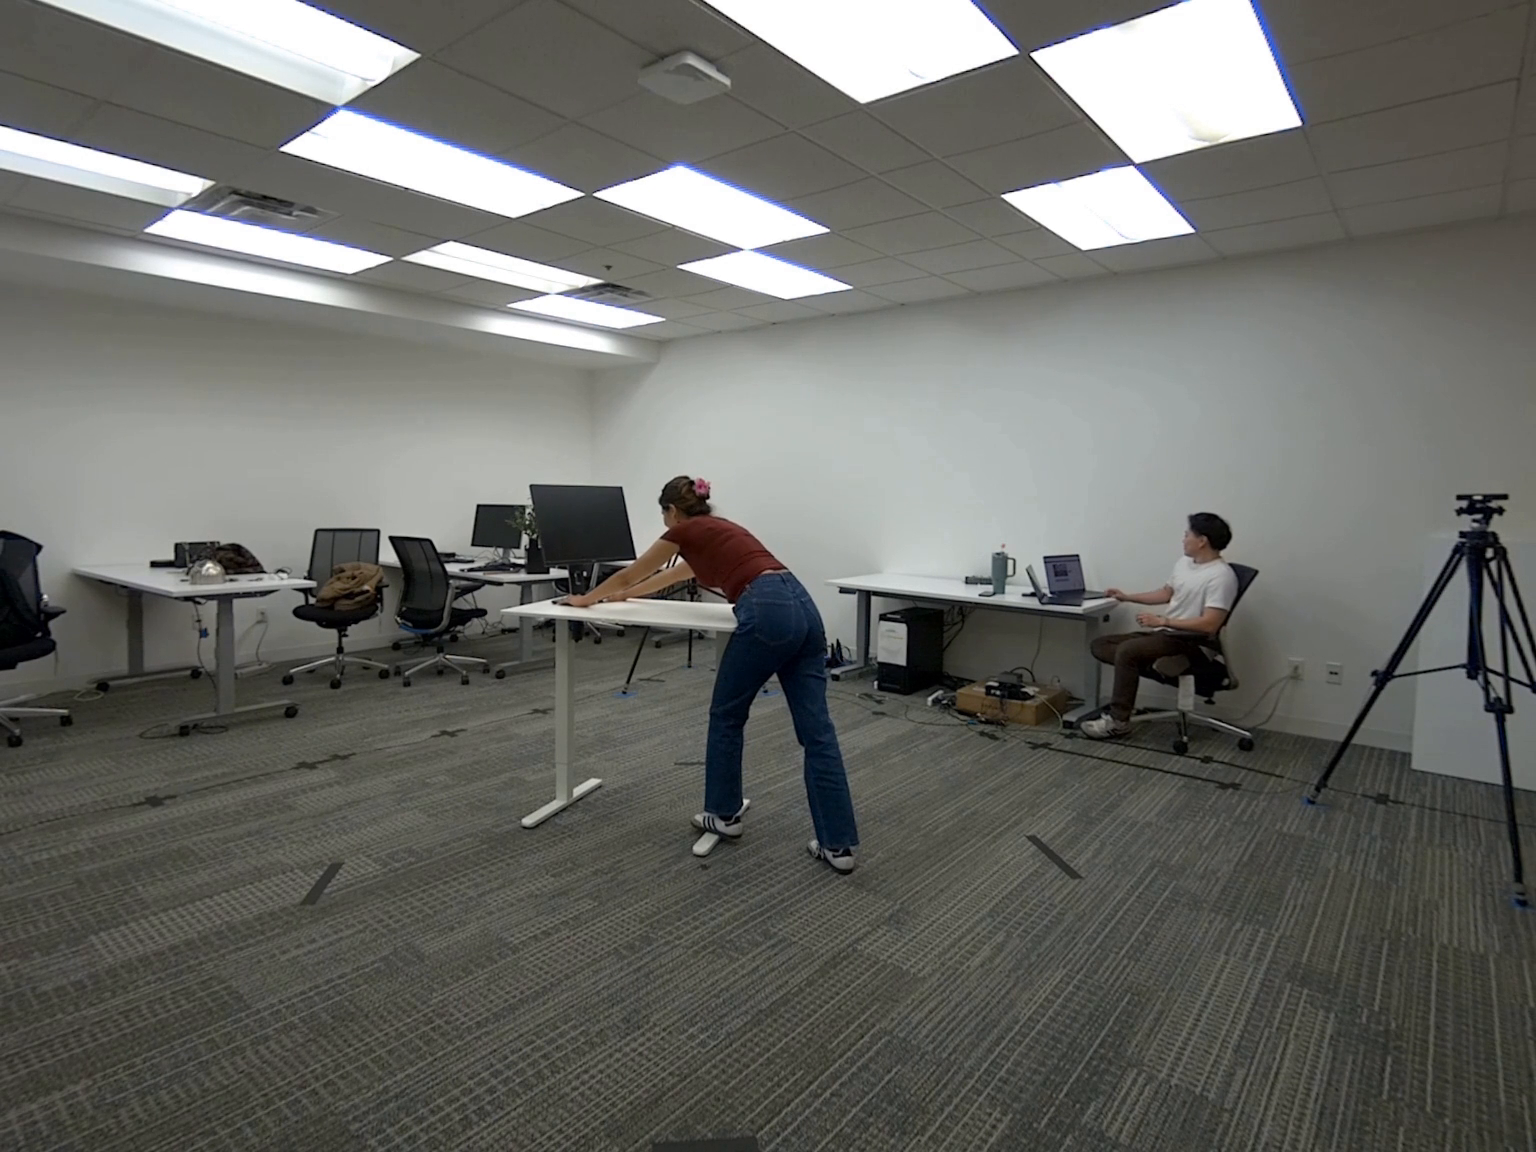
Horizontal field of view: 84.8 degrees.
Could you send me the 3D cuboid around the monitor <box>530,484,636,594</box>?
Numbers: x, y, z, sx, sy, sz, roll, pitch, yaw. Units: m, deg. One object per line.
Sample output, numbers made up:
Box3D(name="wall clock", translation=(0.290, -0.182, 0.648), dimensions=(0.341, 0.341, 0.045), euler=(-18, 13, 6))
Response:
Box3D(name="monitor", translation=(-0.830, -0.143, 3.748), dimensions=(0.192, 0.523, 0.524), euler=(-2, 1, 32))
